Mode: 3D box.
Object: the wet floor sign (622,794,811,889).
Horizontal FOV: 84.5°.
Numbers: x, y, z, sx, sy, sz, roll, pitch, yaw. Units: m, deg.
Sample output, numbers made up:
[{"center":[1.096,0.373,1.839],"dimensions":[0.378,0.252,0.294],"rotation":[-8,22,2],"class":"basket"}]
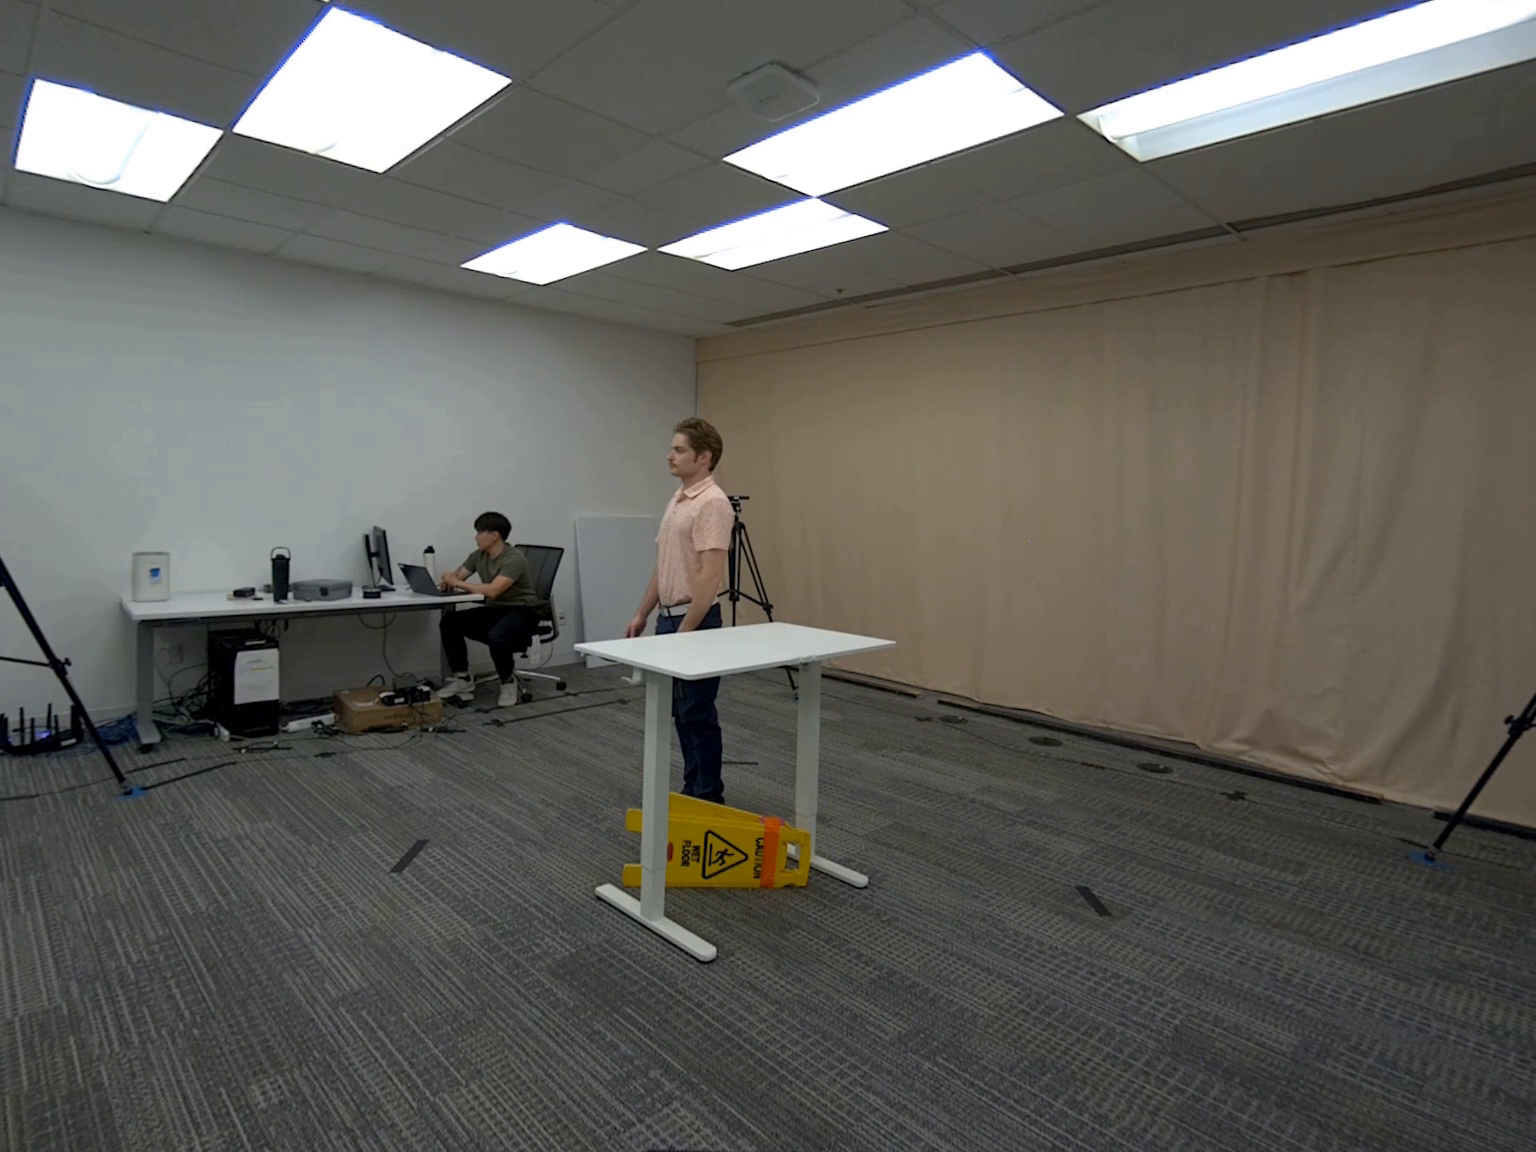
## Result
[{"center":[-0.177,0.980,3.060],"dimensions":[0.651,0.281,0.288],"rotation":[6,4,9],"class":"wet floor sign"}]
